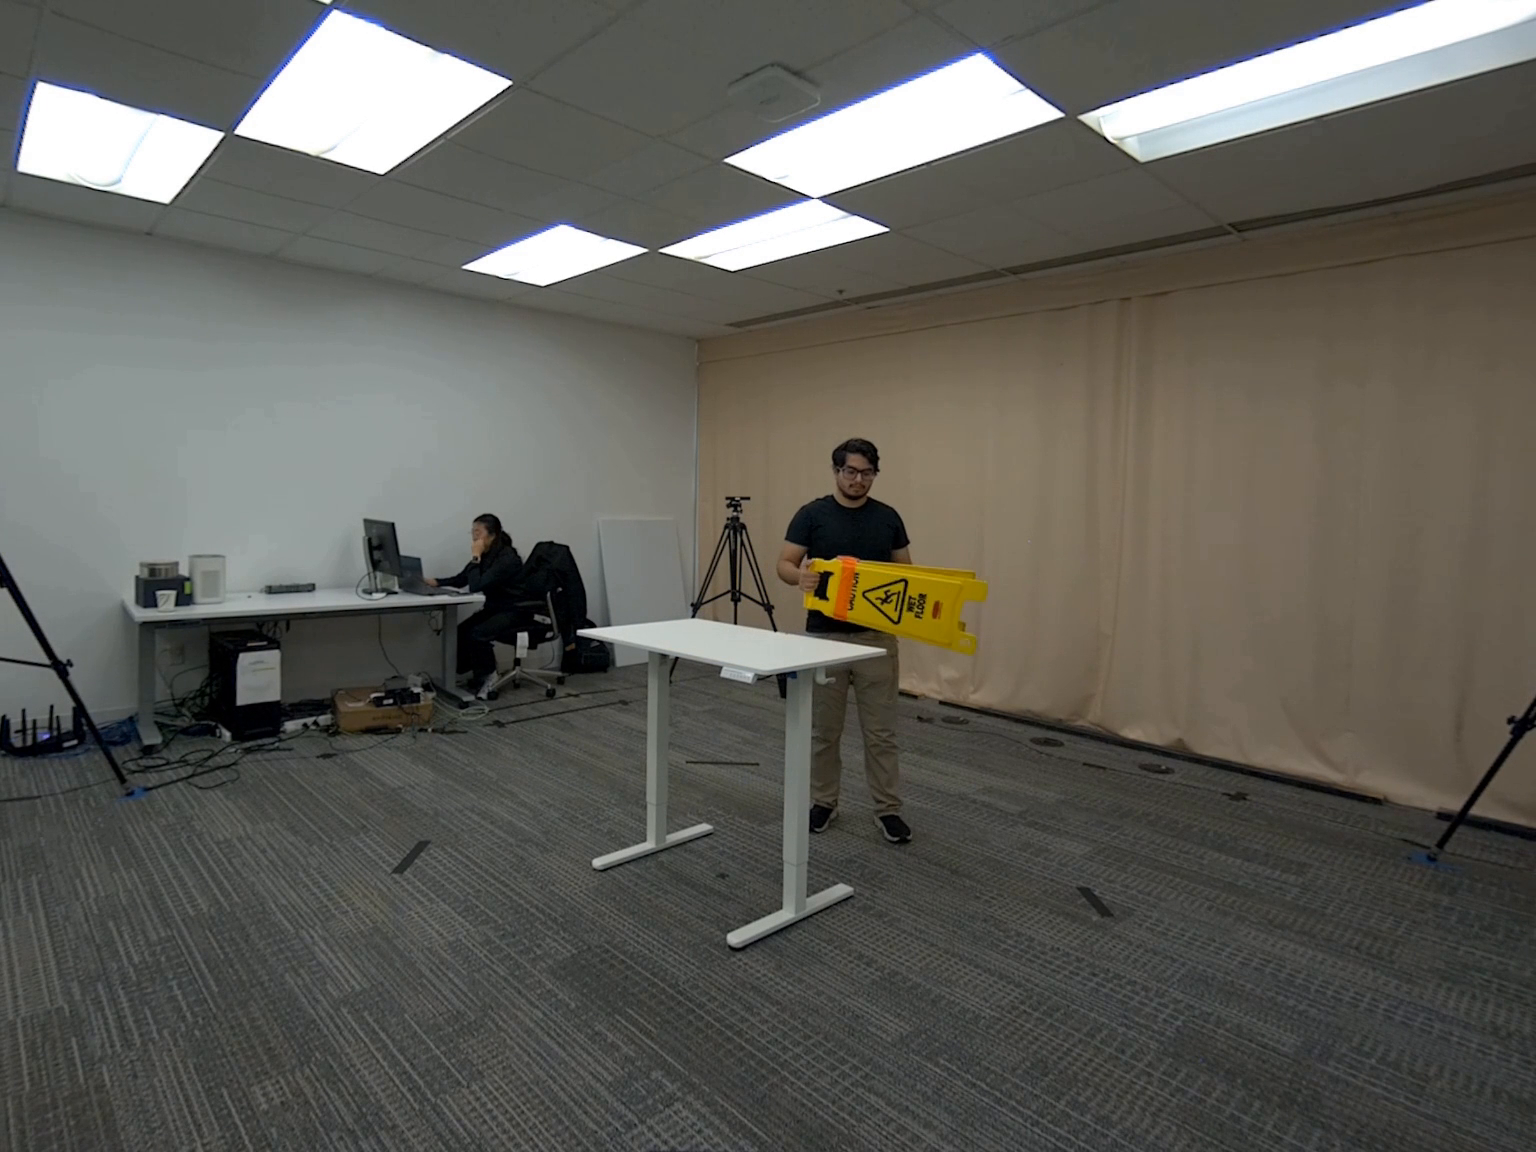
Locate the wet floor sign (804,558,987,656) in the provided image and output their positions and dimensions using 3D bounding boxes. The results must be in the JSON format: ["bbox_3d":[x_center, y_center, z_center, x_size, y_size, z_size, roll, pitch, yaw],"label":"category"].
[{"bbox_3d":[0.468,0.088,3.231,0.648,0.281,0.290,10,9,4],"label":"wet floor sign"}]
